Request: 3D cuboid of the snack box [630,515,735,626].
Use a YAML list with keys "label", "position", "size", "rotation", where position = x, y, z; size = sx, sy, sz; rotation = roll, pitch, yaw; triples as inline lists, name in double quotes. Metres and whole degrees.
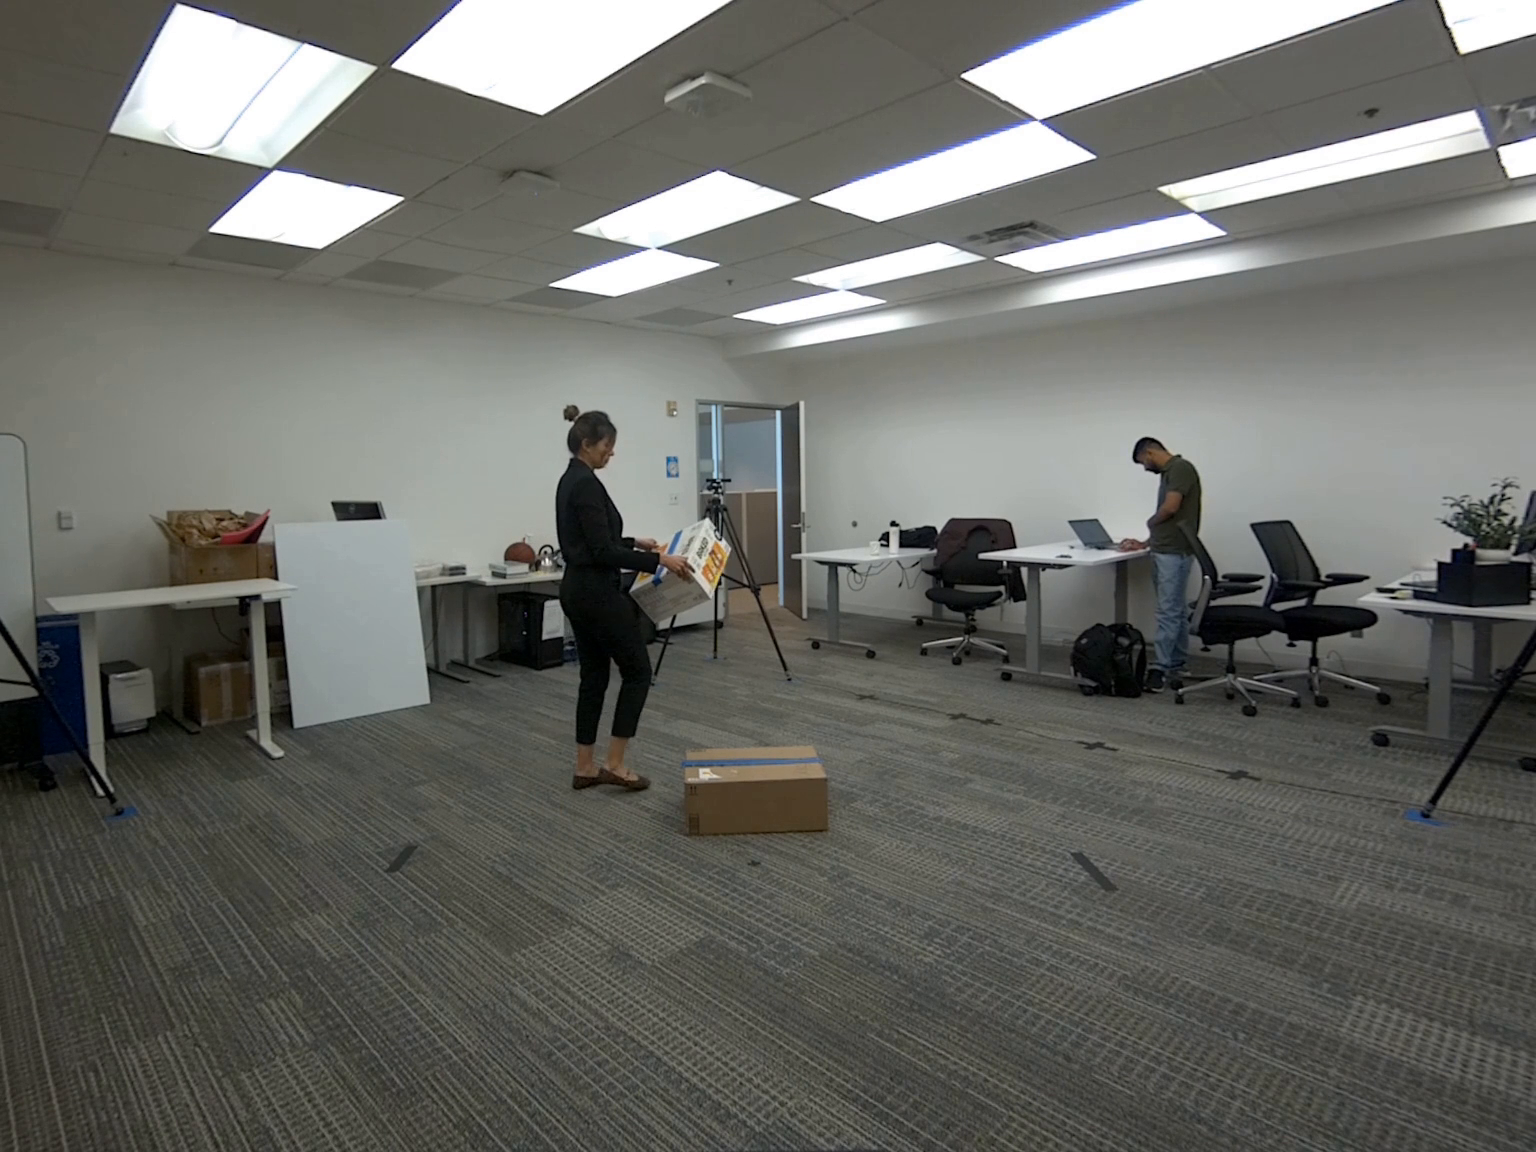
- label: "snack box"
  position: [-0.393, -0.032, 3.993]
  size: [0.344, 0.200, 0.411]
  rotation: [-25, 26, 27]
